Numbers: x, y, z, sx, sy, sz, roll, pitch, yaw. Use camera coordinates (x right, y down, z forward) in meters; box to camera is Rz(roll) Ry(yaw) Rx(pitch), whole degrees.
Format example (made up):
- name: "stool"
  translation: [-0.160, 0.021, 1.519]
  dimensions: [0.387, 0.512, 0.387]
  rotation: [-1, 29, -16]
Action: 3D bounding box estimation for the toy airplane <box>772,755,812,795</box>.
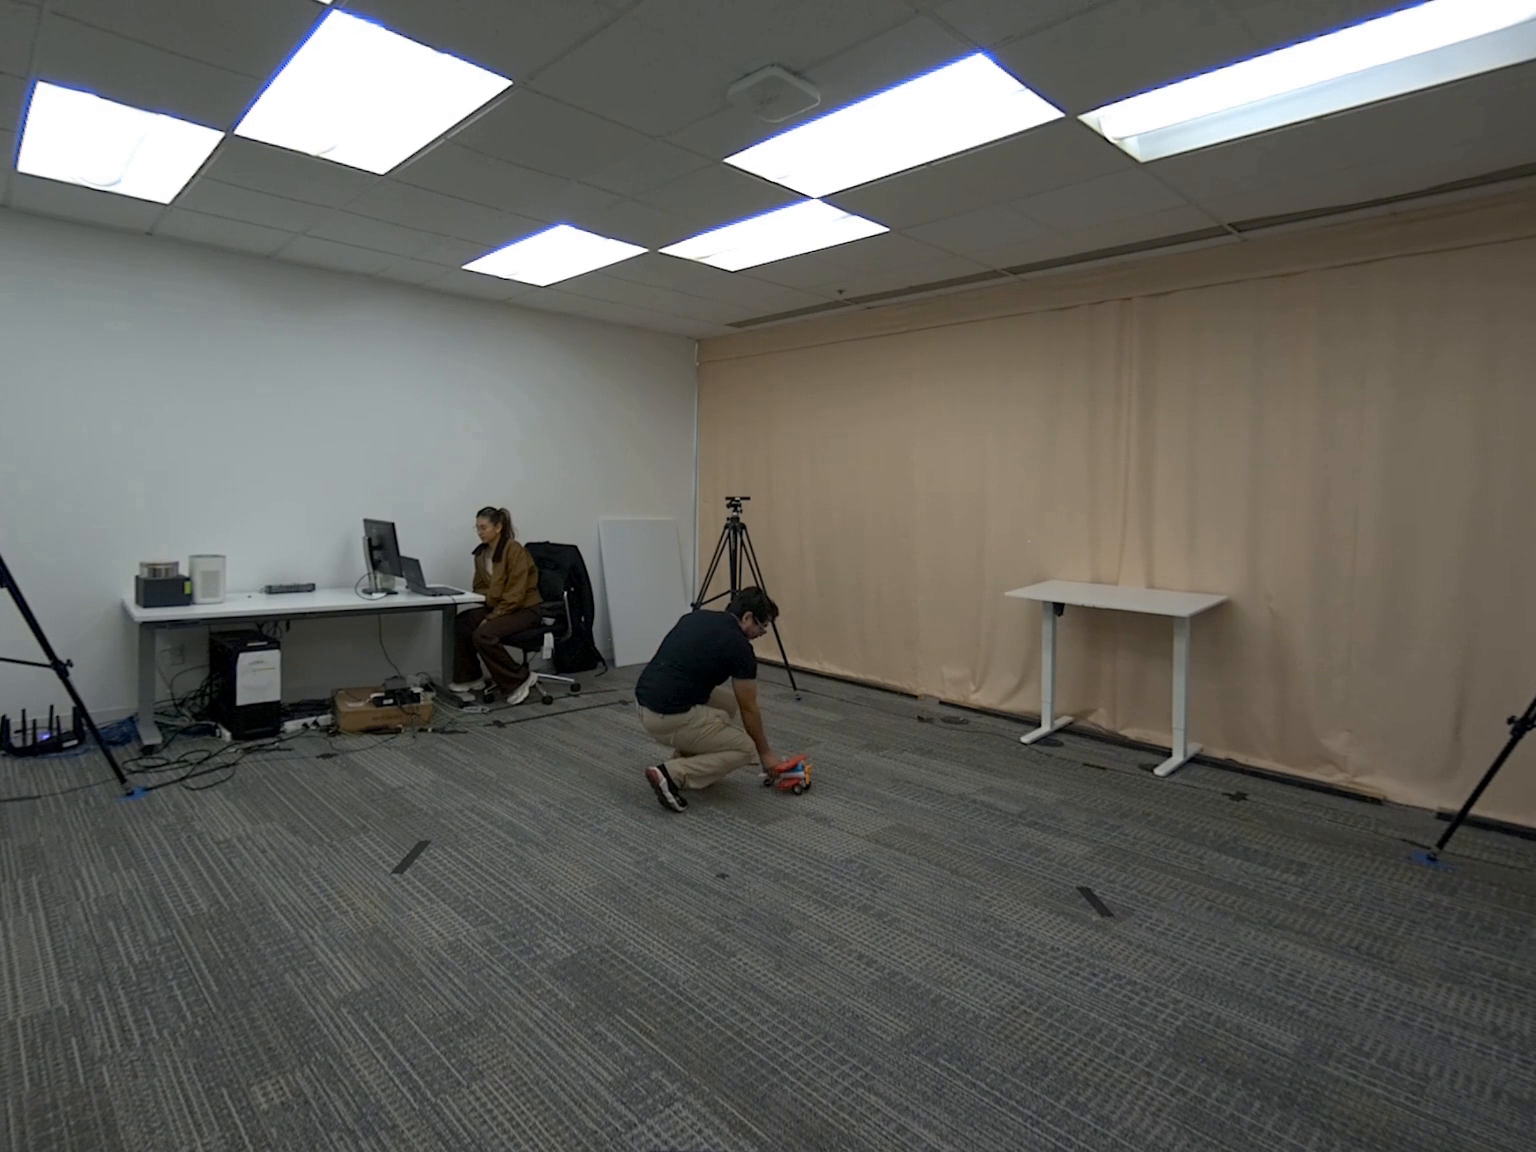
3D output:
- name: "toy airplane"
  translation: [0.061, 0.956, 4.054]
  dimensions: [0.259, 0.156, 0.251]
  rotation: [3, 4, 0]
